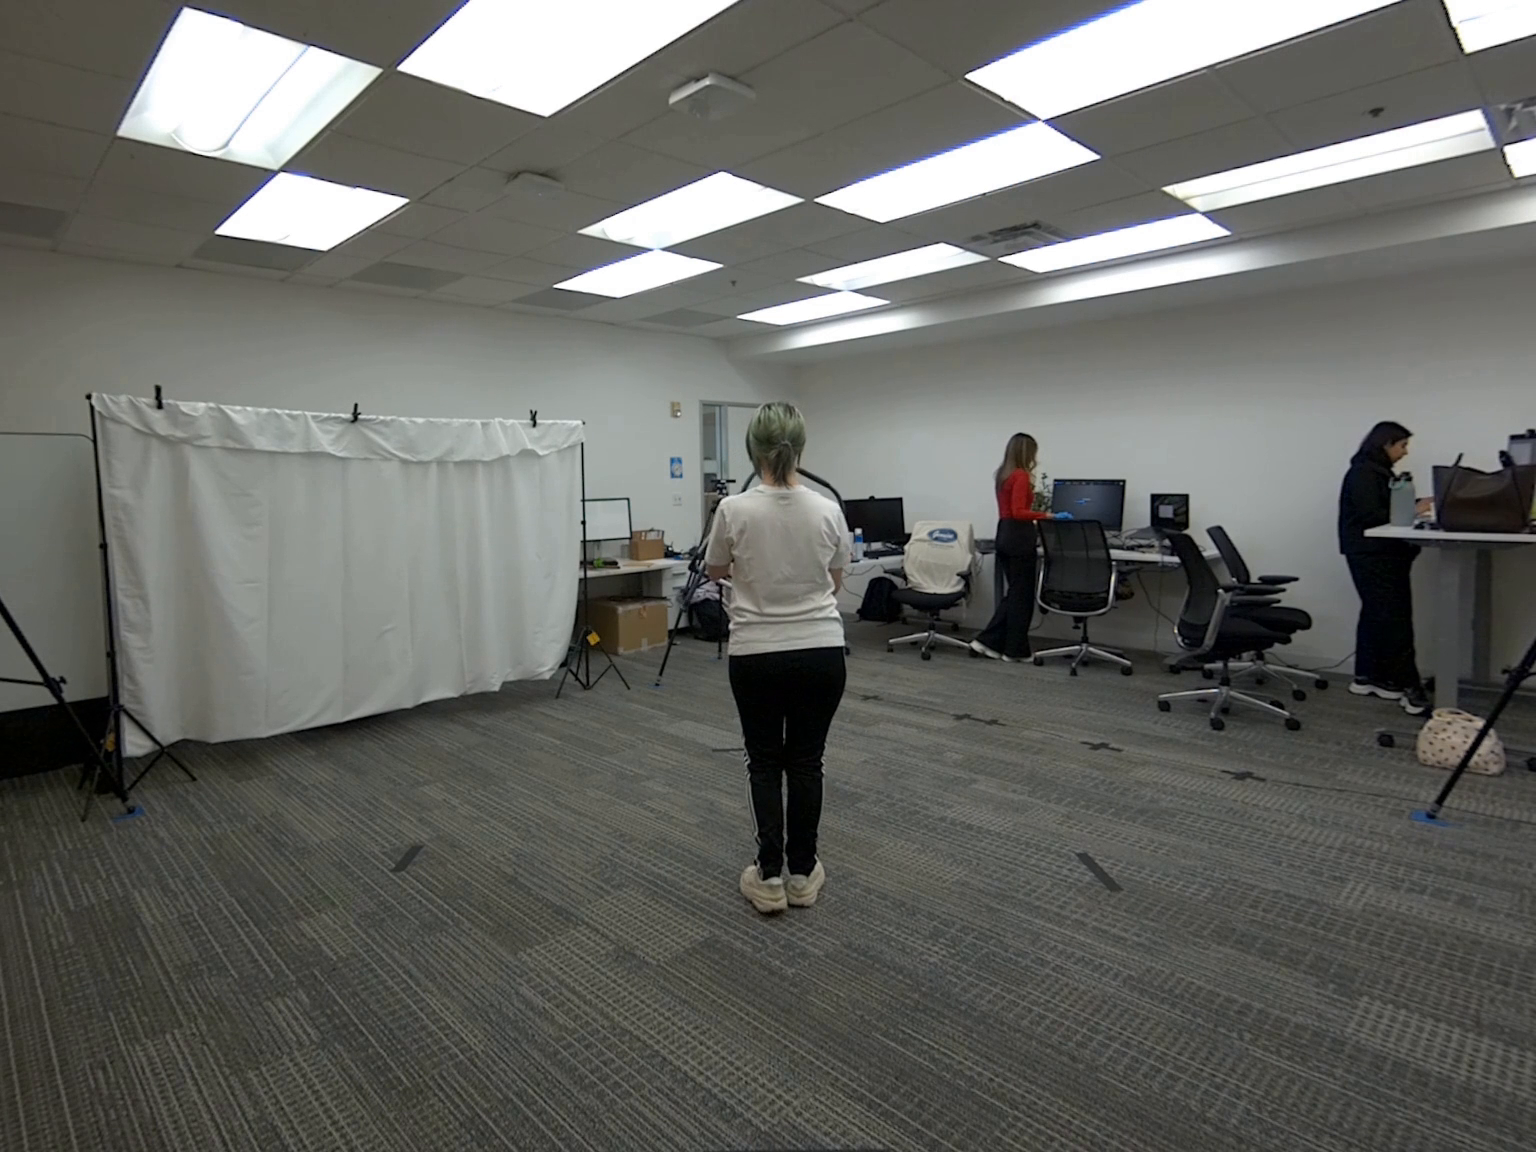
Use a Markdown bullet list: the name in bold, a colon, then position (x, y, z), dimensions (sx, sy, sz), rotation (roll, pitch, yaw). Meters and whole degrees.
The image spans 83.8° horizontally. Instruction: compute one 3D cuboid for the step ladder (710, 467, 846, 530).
- **step ladder**: position (0.011, -0.104, 3.172), dimensions (0.424, 0.602, 0.356), rotation (27, 23, -13)
